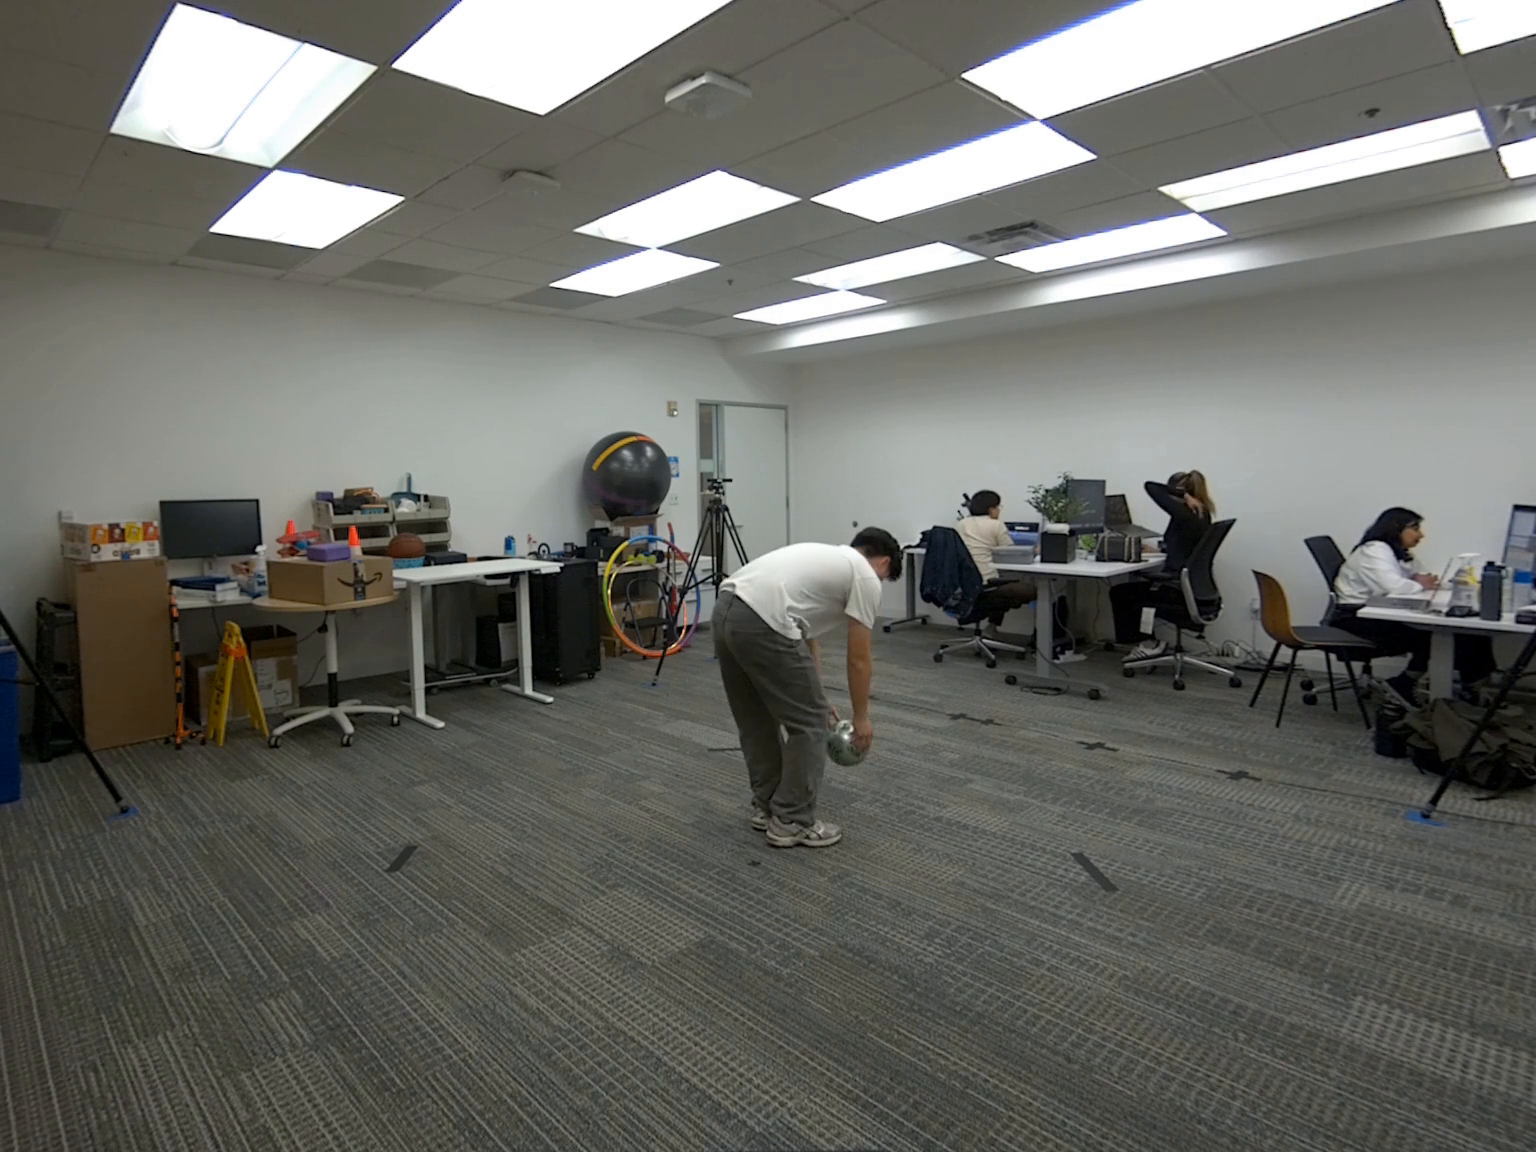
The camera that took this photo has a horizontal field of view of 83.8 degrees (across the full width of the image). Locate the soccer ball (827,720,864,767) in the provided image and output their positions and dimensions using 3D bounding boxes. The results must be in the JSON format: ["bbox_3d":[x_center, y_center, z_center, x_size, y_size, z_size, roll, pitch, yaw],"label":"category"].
[{"bbox_3d":[0.320,0.670,3.490,0.187,0.187,0.188,-1,5,-2],"label":"soccer ball"}]
